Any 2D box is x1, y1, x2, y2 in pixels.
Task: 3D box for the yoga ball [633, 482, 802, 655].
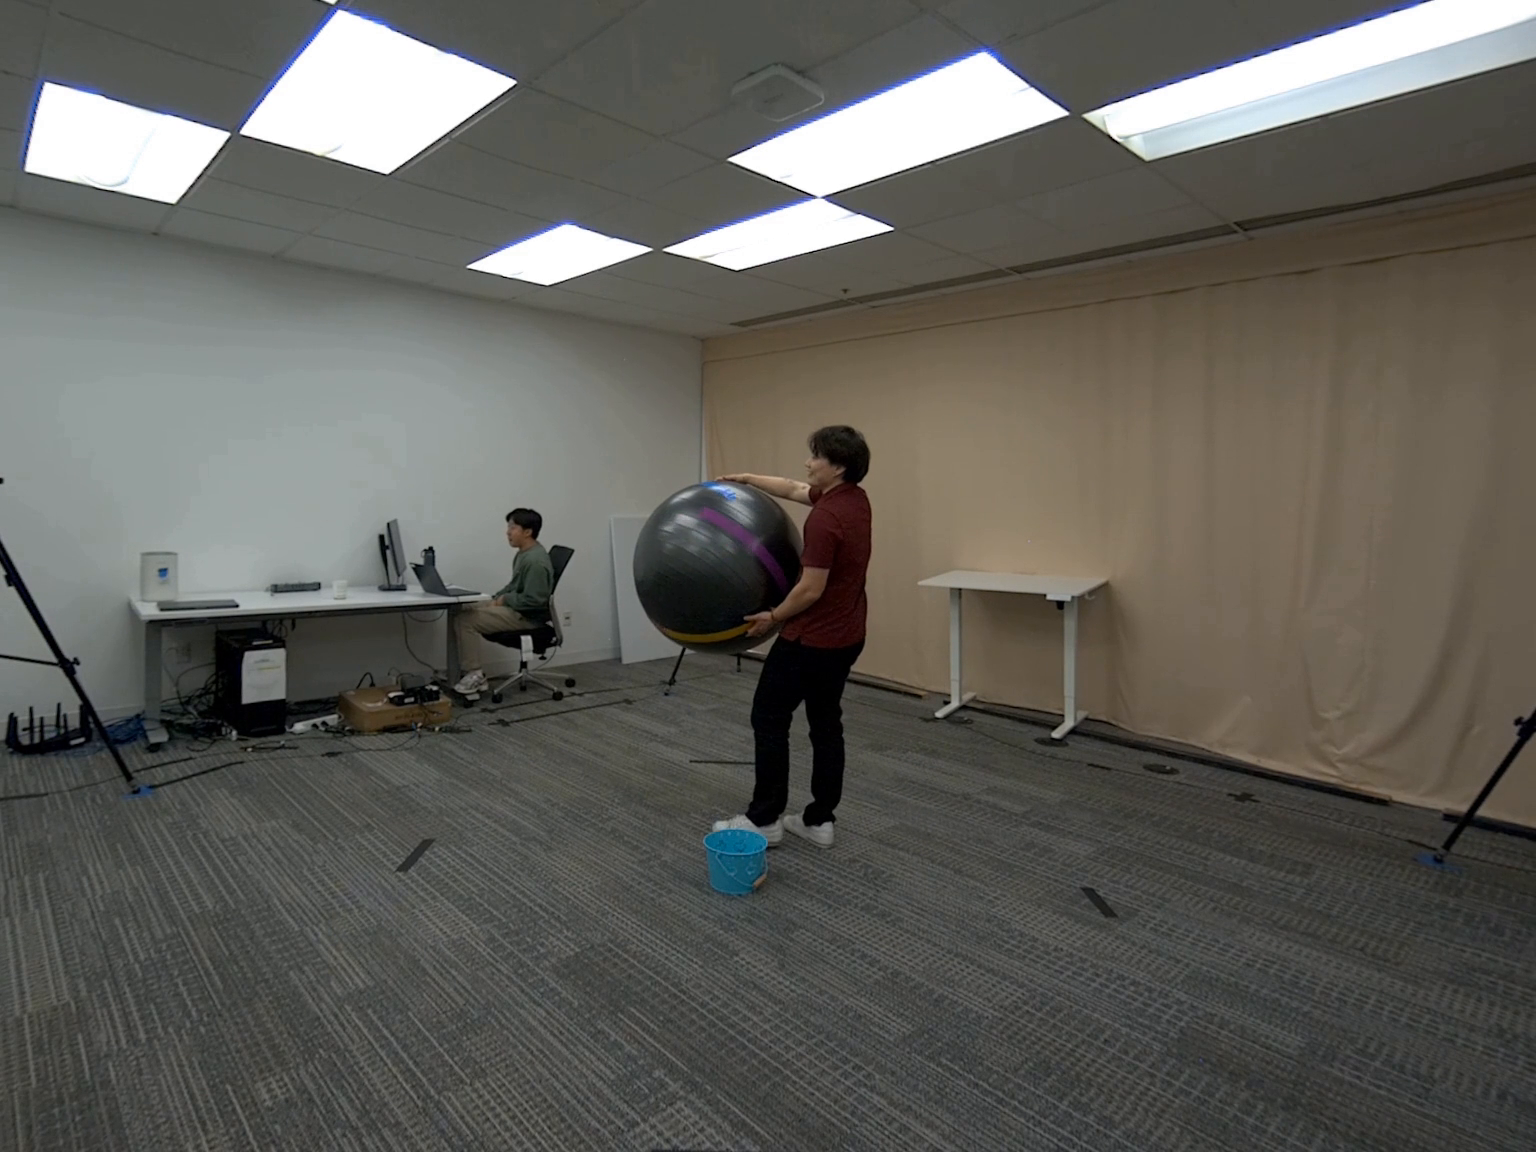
[{"bbox_3d":[-0.221,-0.038,3.702,0.757,0.756,0.761,1,4,-1],"label":"yoga ball"}]
